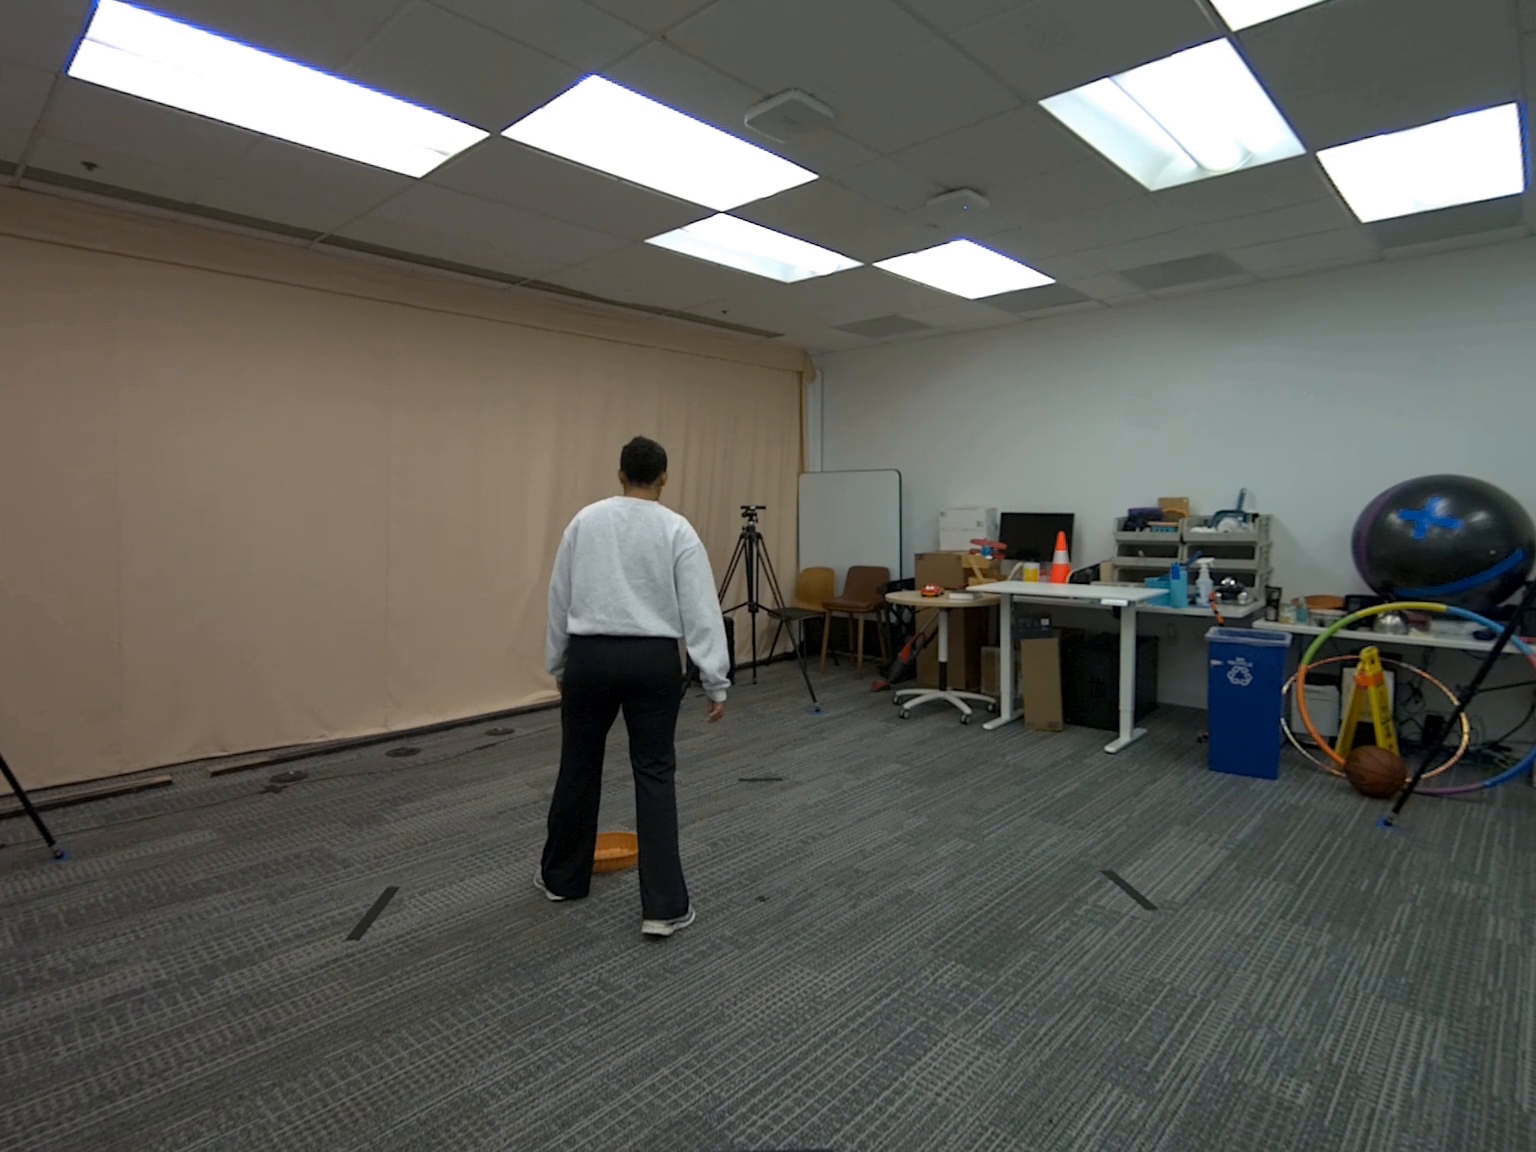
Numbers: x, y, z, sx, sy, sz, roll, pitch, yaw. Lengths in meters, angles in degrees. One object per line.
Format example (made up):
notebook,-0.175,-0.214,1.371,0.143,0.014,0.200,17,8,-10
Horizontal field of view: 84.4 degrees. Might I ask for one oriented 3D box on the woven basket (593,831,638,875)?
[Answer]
woven basket,-0.656,1.087,3.287,0.346,0.073,0.257,-2,6,-13
